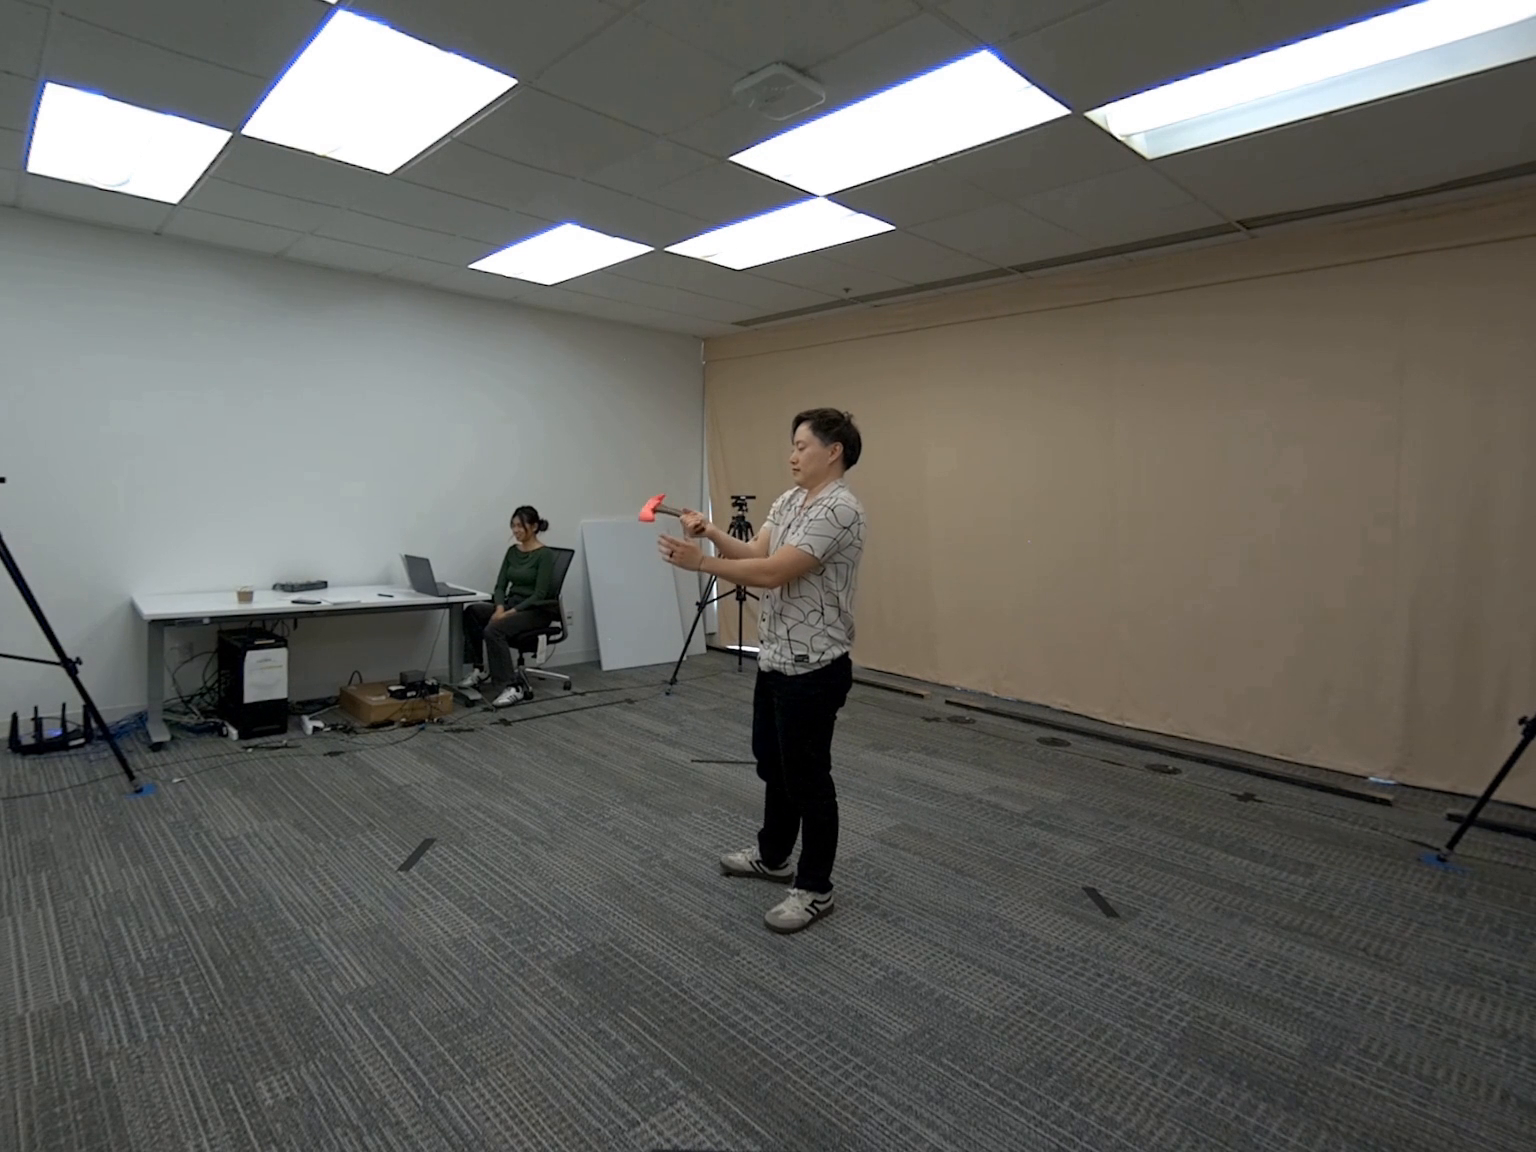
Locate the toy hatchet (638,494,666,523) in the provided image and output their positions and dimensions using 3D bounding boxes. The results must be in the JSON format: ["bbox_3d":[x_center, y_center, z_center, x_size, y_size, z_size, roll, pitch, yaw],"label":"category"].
[{"bbox_3d":[-0.313,-0.180,2.631,0.130,0.029,0.279,-37,45,-18],"label":"toy hatchet"}]
